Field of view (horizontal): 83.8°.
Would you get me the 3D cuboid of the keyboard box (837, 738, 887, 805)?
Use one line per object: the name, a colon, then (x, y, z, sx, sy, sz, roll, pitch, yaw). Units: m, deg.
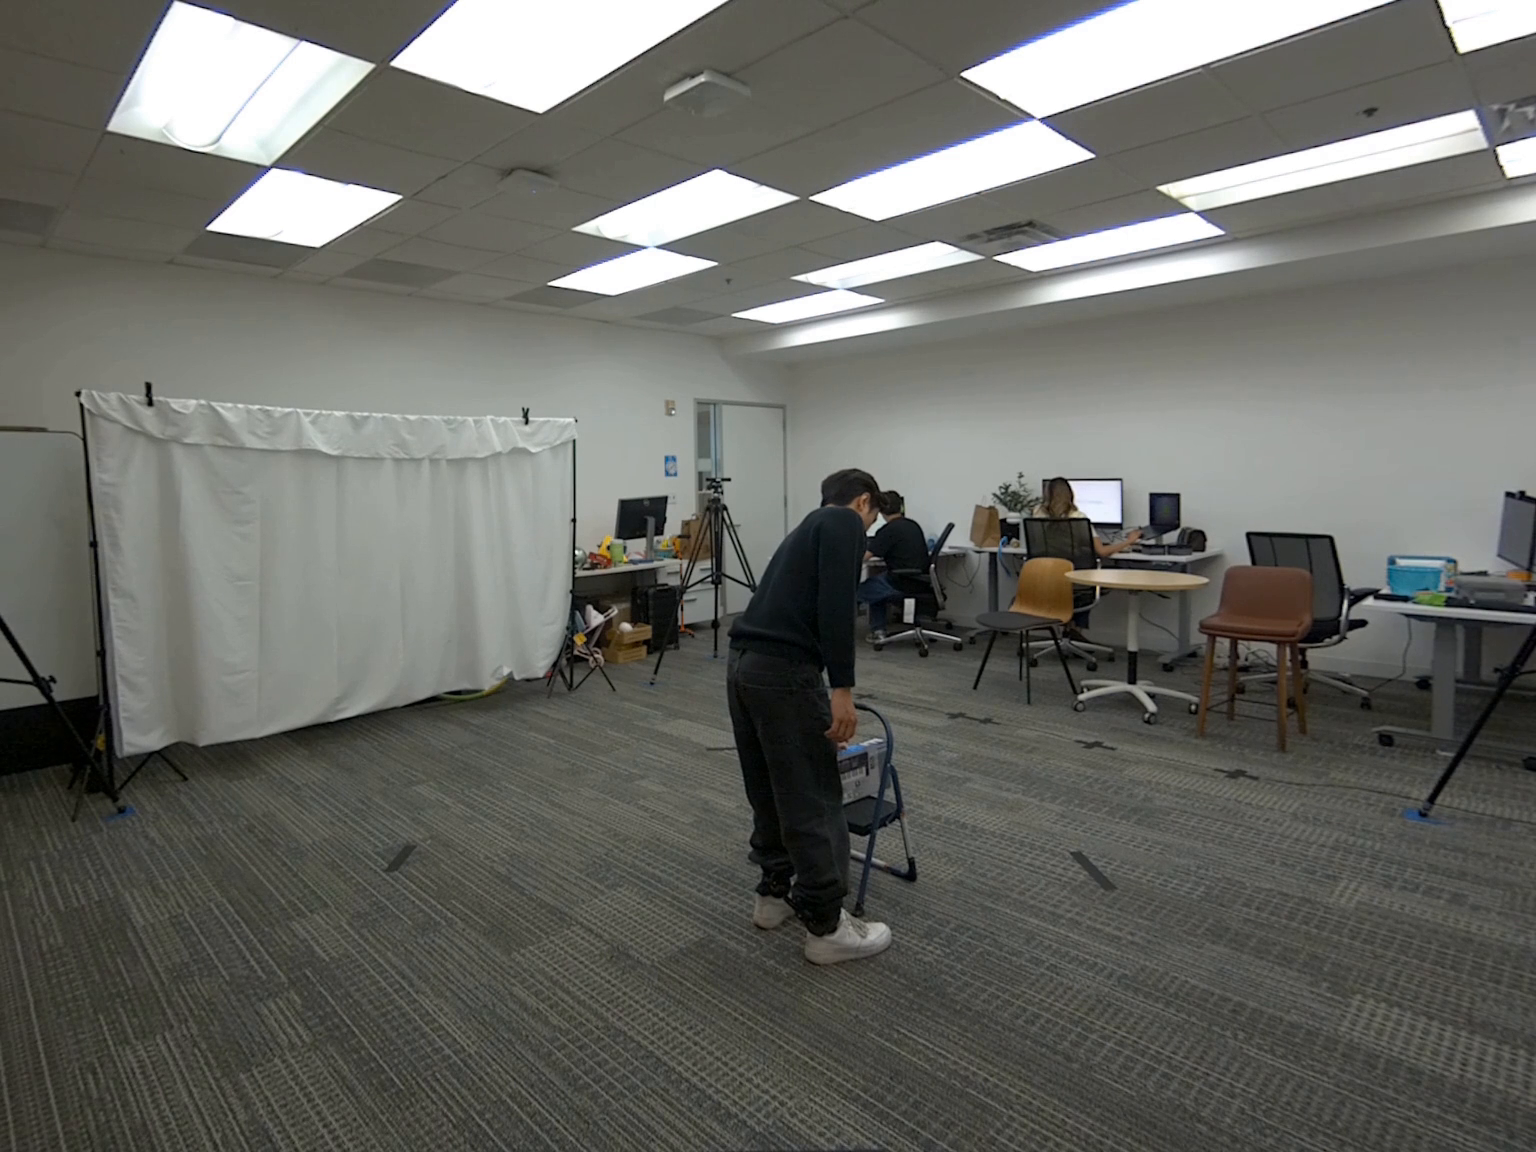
keyboard box: (0.255, 0.702, 2.981, 0.426, 0.175, 0.061, -8, 4, -37)
